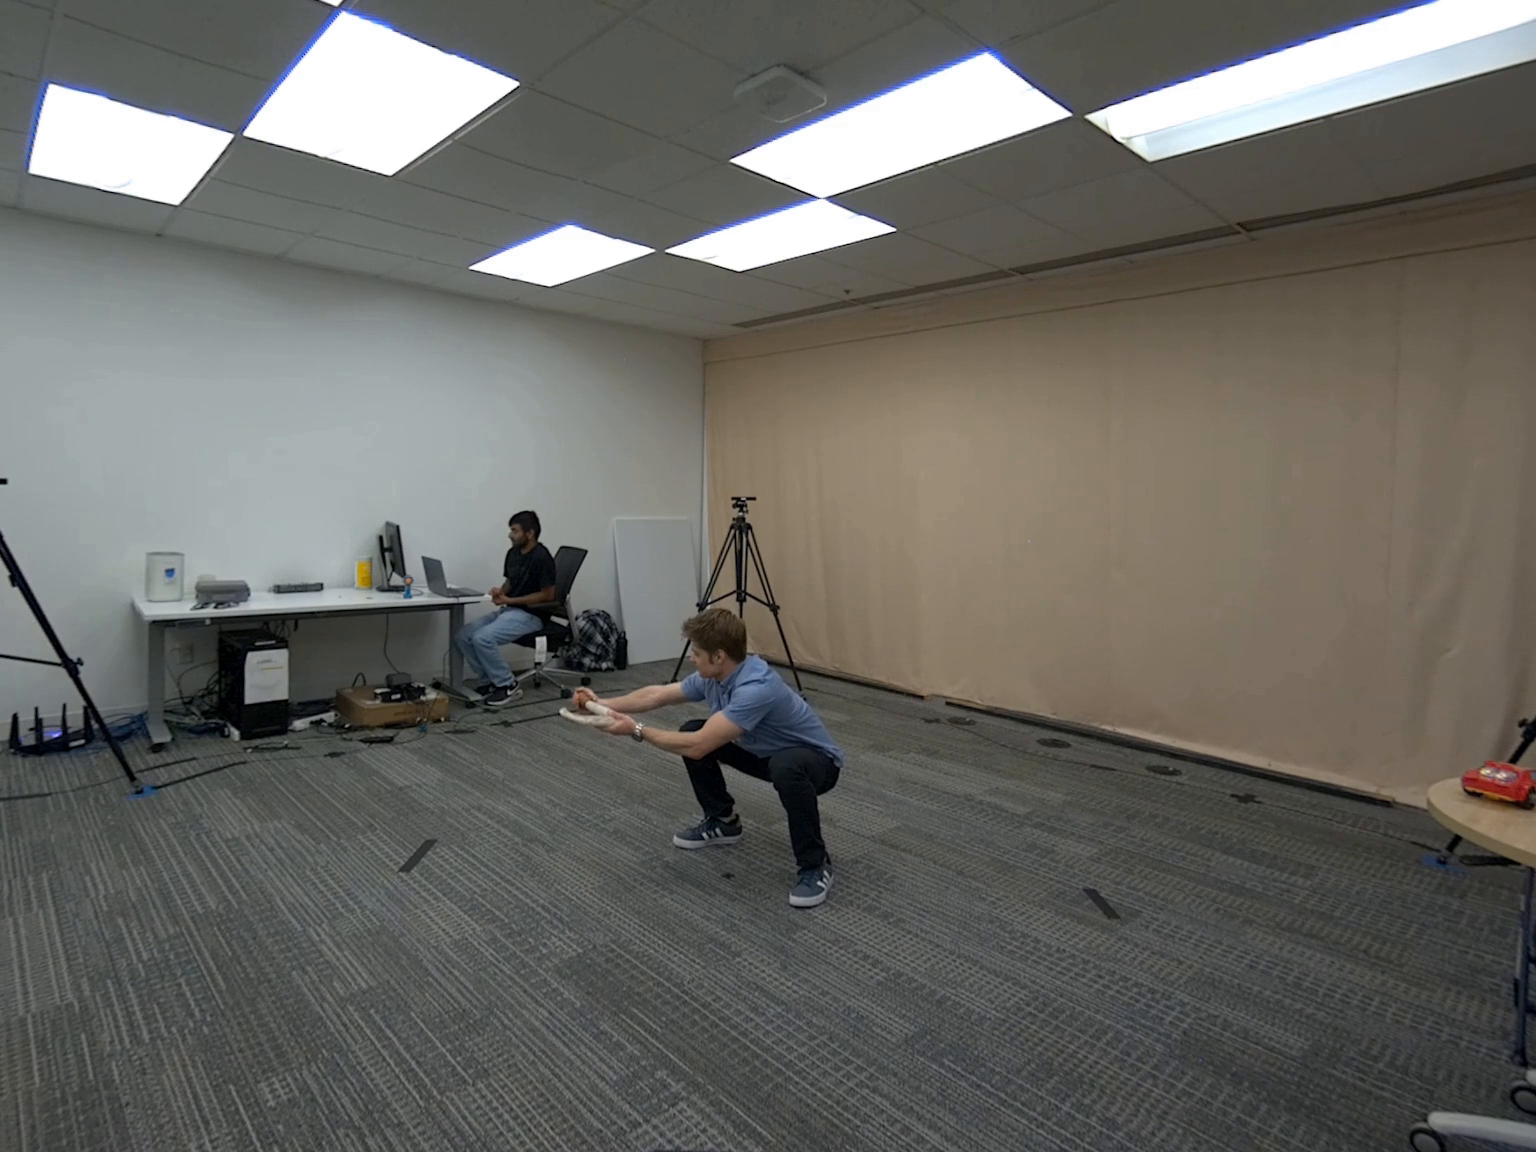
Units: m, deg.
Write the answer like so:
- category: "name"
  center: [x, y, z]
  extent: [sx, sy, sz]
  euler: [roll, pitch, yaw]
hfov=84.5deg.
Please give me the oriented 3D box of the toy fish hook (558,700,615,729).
- category: "toy fish hook"
  center: [-0.738, 0.518, 3.307]
  extent: [0.219, 0.048, 0.518]
  euler: [12, -1, -28]
